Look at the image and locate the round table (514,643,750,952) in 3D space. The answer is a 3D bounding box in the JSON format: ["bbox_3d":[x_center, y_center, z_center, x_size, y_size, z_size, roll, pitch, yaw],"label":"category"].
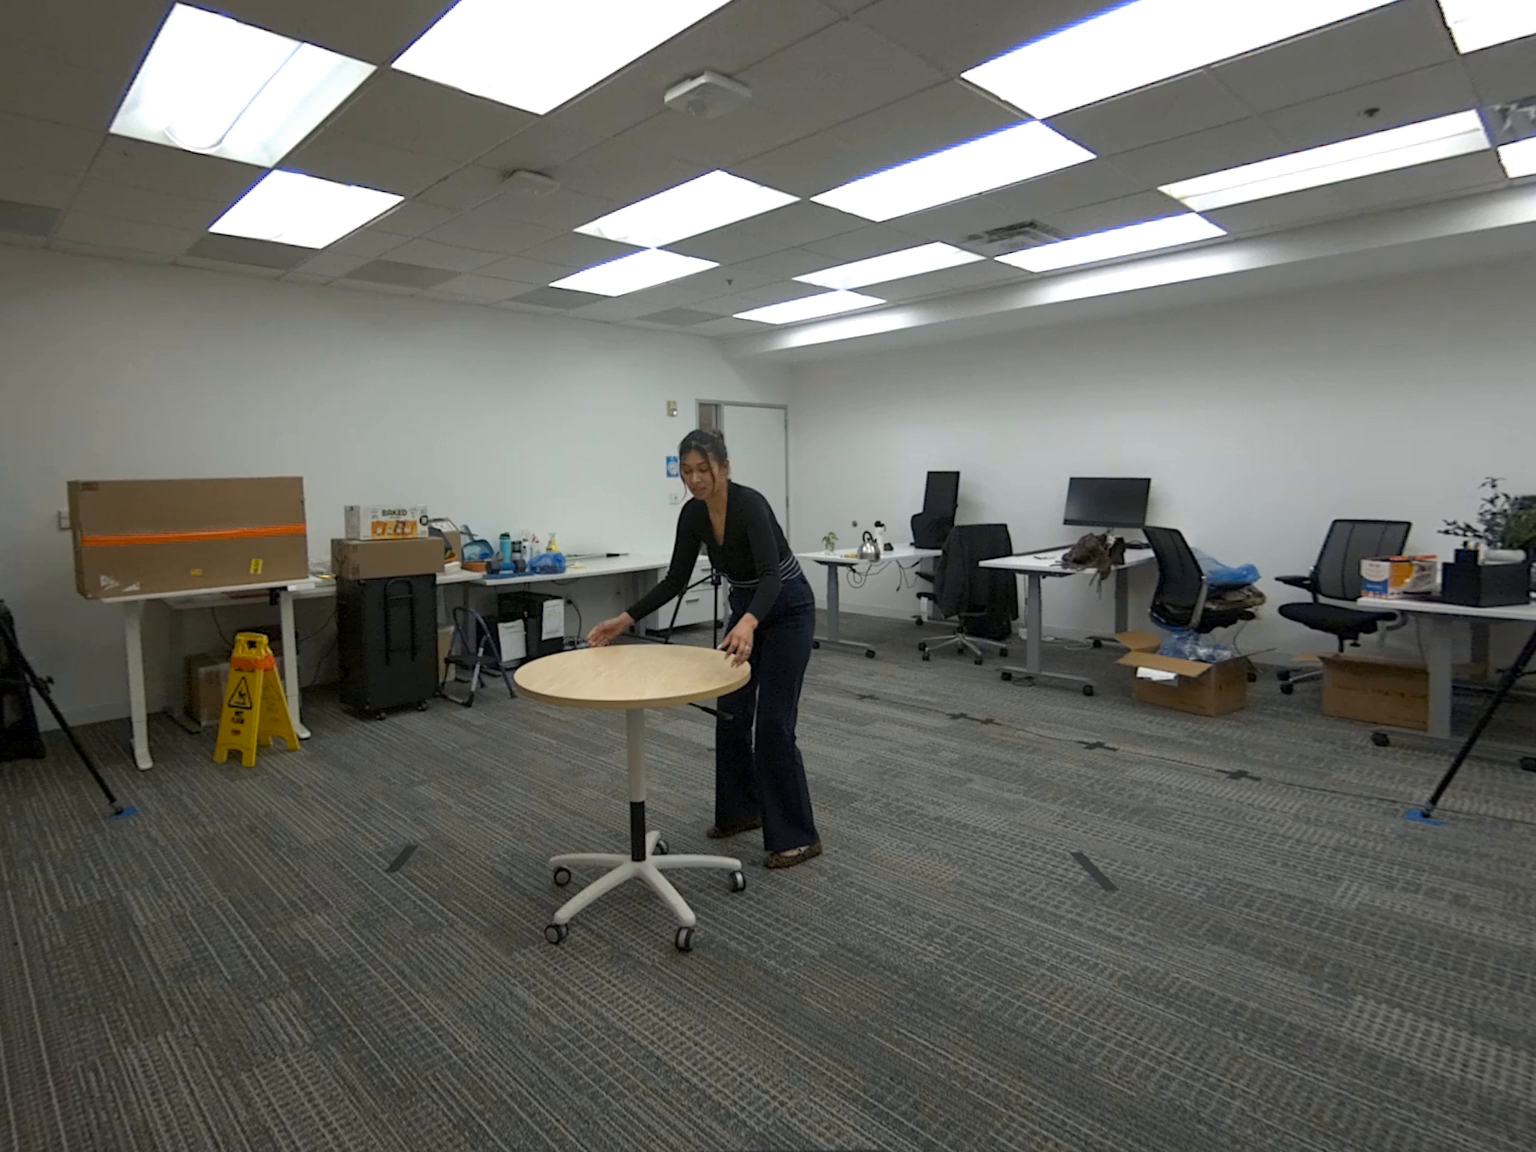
[{"bbox_3d":[-0.427,0.696,2.815,0.763,0.790,0.768,-1,6,-2],"label":"round table"}]
